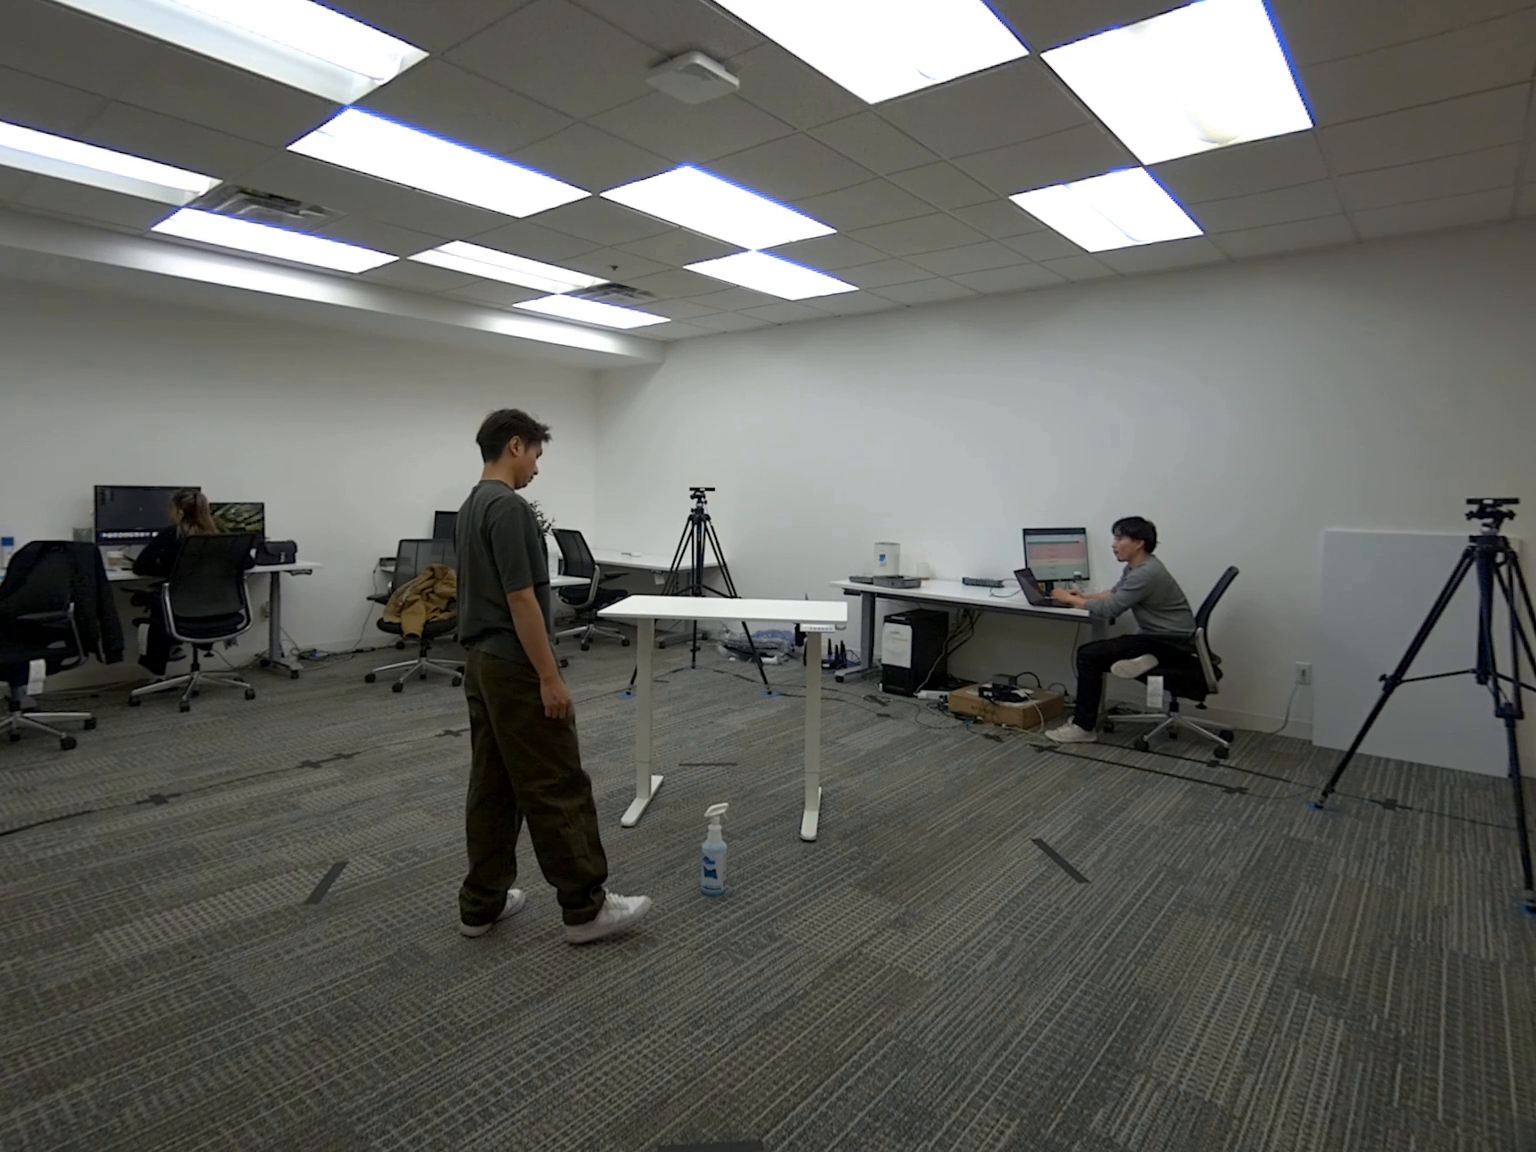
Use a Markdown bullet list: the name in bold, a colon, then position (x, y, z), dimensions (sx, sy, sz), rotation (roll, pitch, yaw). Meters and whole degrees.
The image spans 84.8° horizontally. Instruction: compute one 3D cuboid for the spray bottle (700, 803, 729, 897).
- **spray bottle**: position (-0.193, 0.938, 2.932), dimensions (0.089, 0.297, 0.088), rotation (2, 1, -6)
